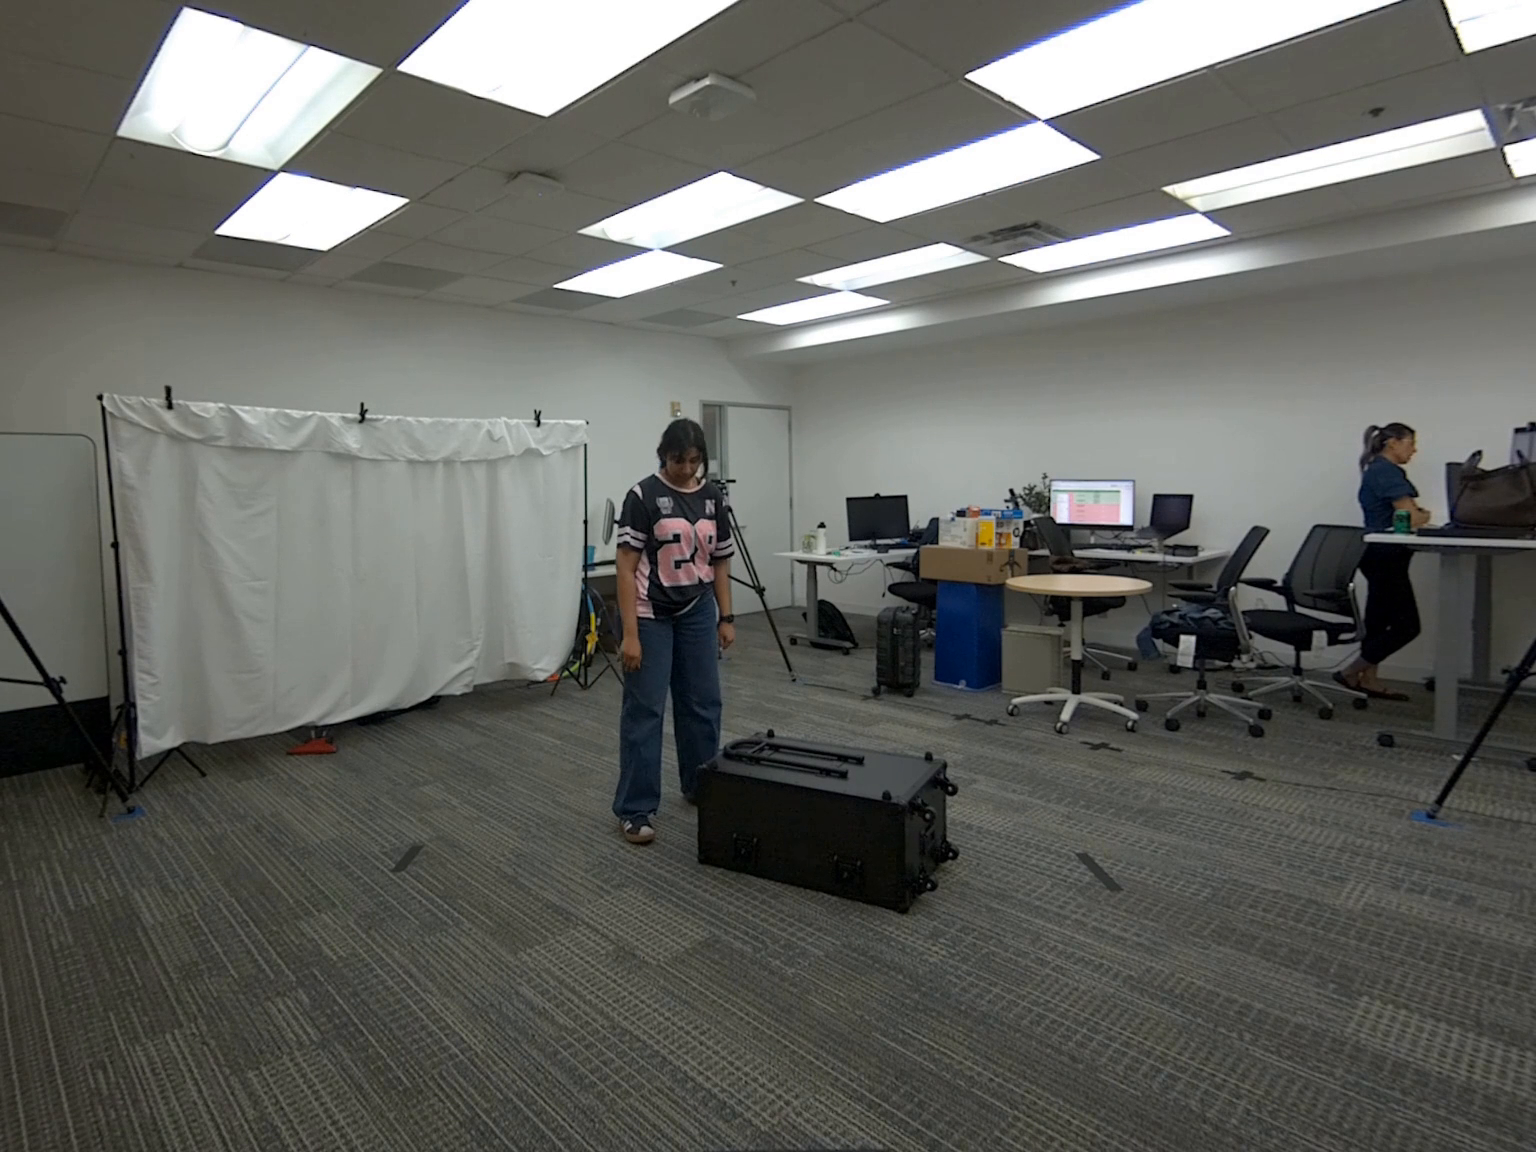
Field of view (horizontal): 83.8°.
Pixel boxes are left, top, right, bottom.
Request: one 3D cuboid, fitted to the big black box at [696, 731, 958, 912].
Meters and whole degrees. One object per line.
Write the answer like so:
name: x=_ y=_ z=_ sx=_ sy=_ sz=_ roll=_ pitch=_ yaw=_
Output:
big black box: x=0.236 y=0.846 z=3.099 sx=0.884 sy=0.395 sz=0.510 roll=3 pitch=6 yaw=29
